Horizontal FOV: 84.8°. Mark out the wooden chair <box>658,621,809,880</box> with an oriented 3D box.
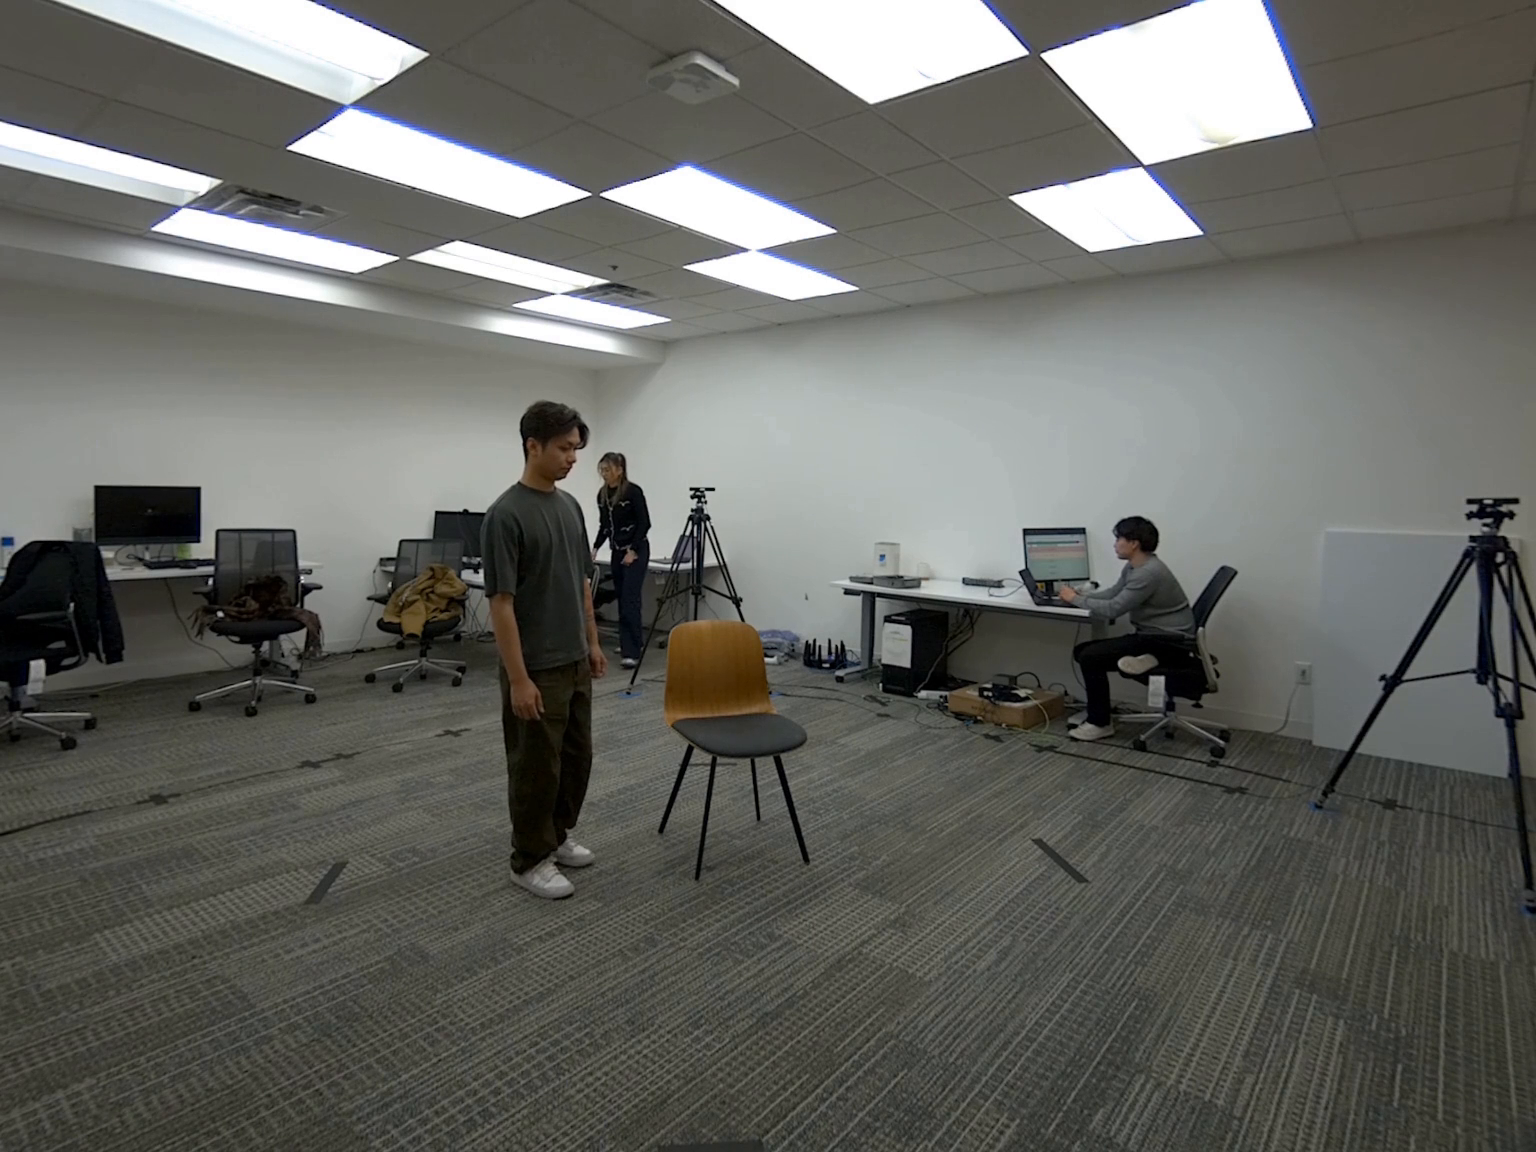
[{"bbox_3d":[-0.142,0.623,3.266,0.467,0.878,0.534,0,-1,-23],"label":"wooden chair"}]
